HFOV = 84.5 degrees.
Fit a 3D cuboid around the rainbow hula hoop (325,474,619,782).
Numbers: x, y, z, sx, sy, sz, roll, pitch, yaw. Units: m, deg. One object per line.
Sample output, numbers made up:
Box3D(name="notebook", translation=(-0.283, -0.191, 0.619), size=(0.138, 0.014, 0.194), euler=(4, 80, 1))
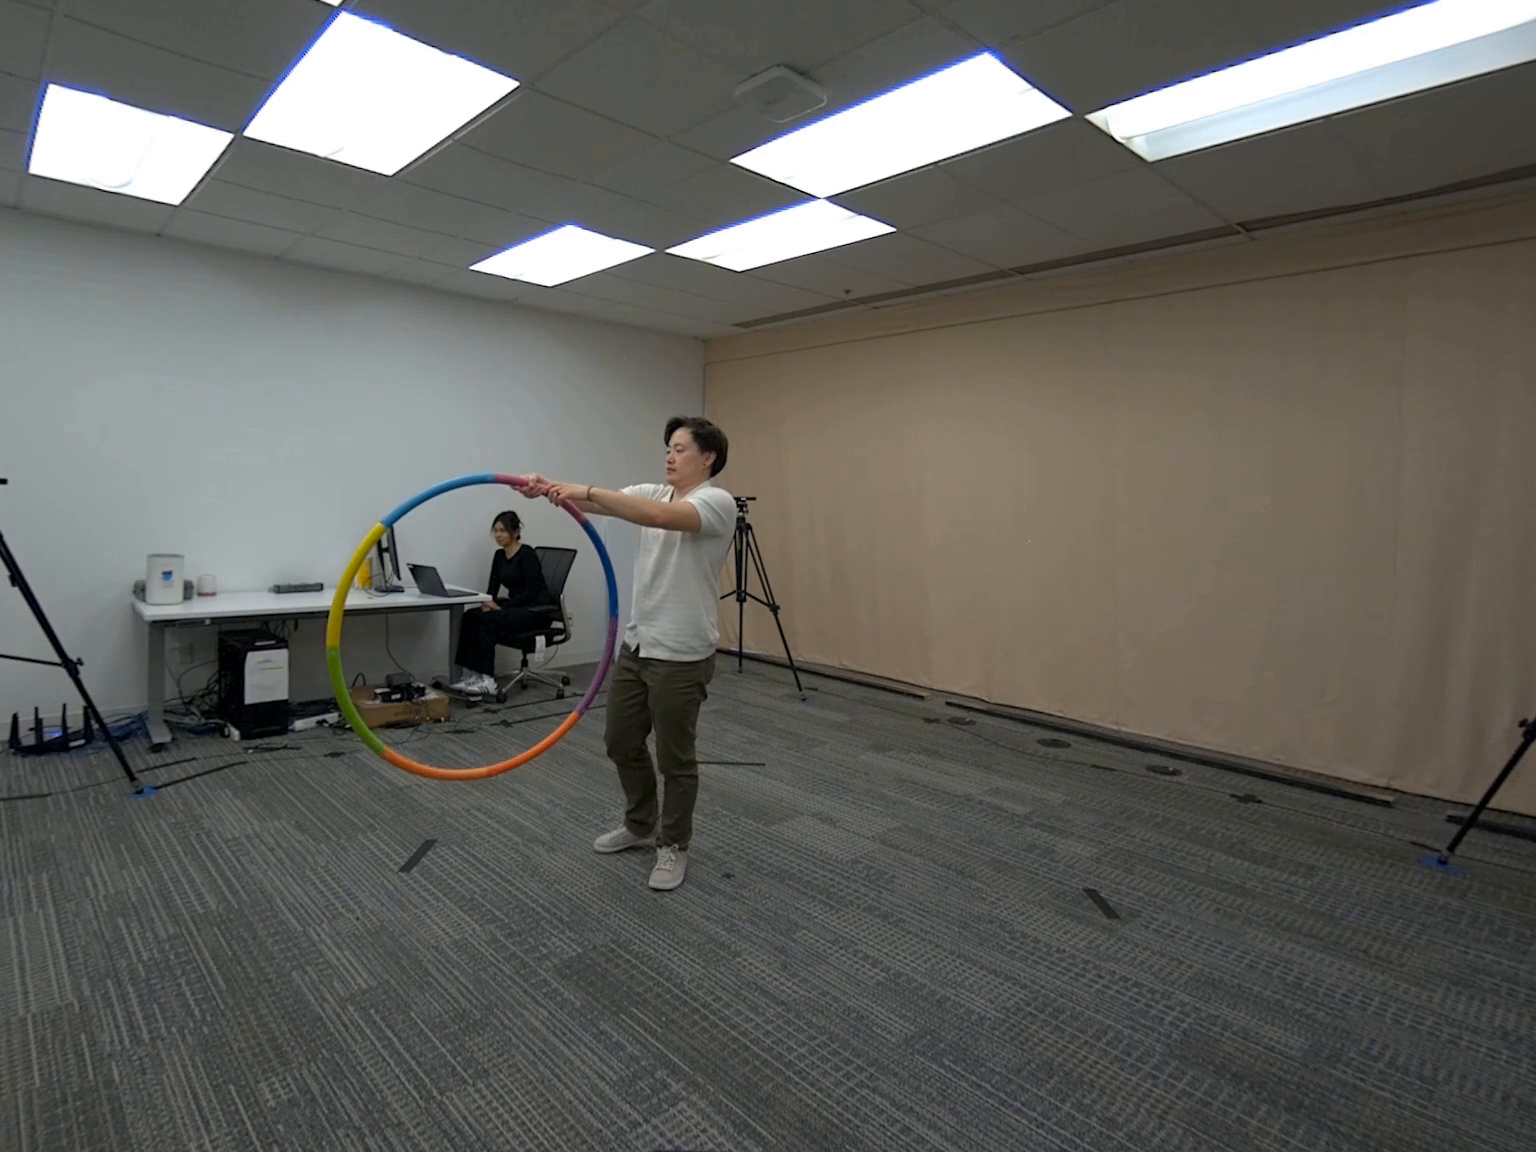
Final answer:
Box3D(name="rainbow hula hoop", translation=(-0.910, 0.165, 2.705), size=(0.956, 0.974, 0.036), euler=(-2, 8, -43))
